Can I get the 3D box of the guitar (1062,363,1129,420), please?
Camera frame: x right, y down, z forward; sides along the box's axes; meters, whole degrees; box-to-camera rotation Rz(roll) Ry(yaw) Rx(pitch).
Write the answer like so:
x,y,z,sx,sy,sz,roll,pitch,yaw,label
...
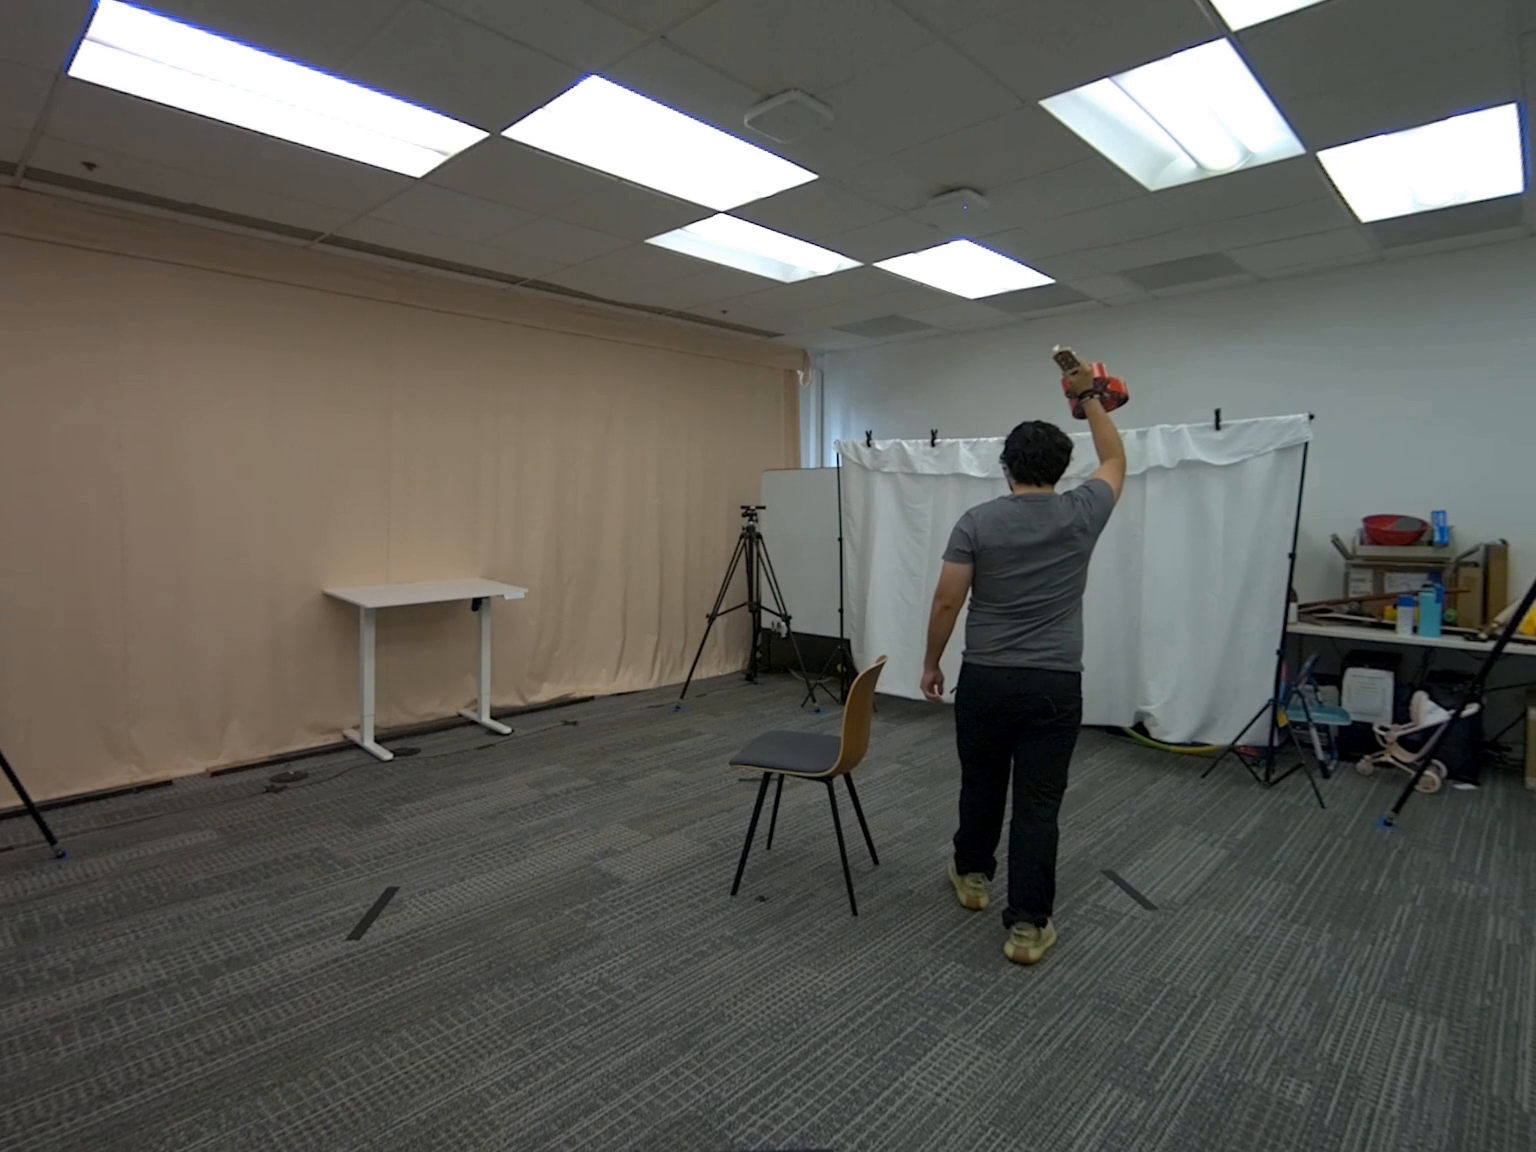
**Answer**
x,y,z,sx,sy,sz,roll,pitch,yaw,label
1.107,-0.682,2.840,0.197,0.072,0.480,-13,-24,25,guitar
